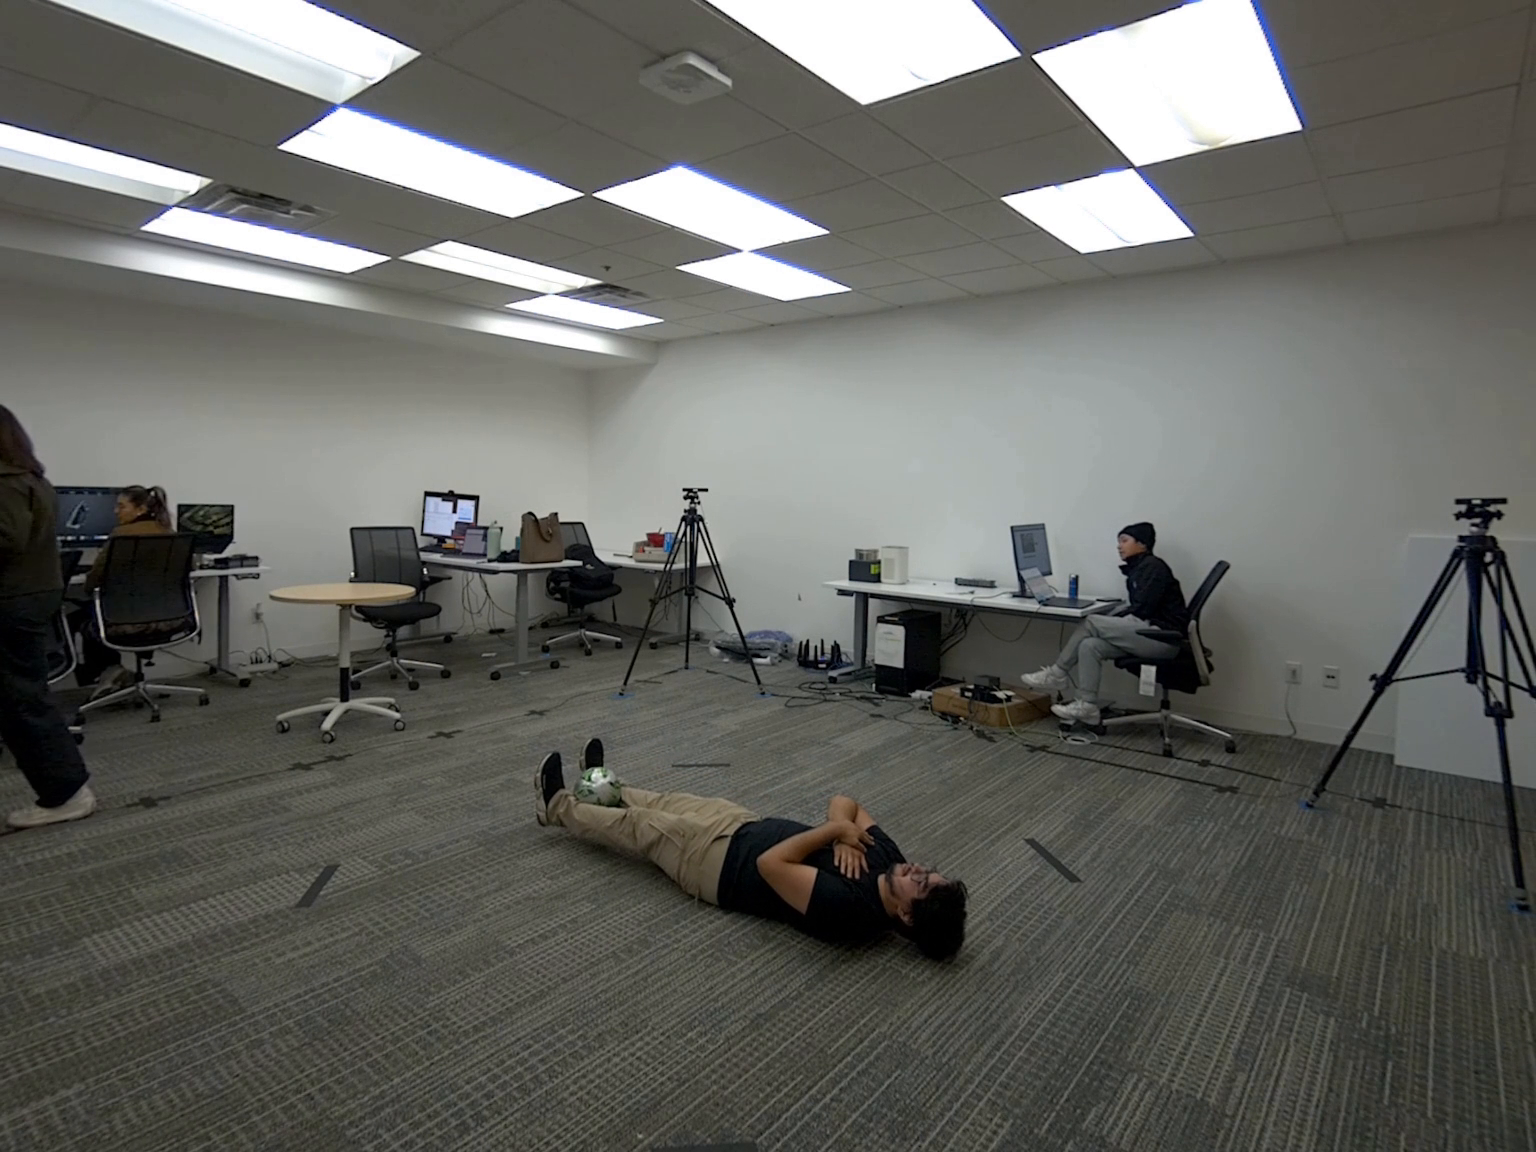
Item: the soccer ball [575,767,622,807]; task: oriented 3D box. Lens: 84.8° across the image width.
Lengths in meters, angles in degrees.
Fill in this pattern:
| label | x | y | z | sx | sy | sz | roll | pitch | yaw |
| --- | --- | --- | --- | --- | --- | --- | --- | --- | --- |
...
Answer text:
| label | x | y | z | sx | sy | sz | roll | pitch | yaw |
| --- | --- | --- | --- | --- | --- | --- | --- | --- | --- |
| soccer ball | -0.697 | 0.855 | 3.389 | 0.187 | 0.187 | 0.188 | 0 | 4 | -2 |
